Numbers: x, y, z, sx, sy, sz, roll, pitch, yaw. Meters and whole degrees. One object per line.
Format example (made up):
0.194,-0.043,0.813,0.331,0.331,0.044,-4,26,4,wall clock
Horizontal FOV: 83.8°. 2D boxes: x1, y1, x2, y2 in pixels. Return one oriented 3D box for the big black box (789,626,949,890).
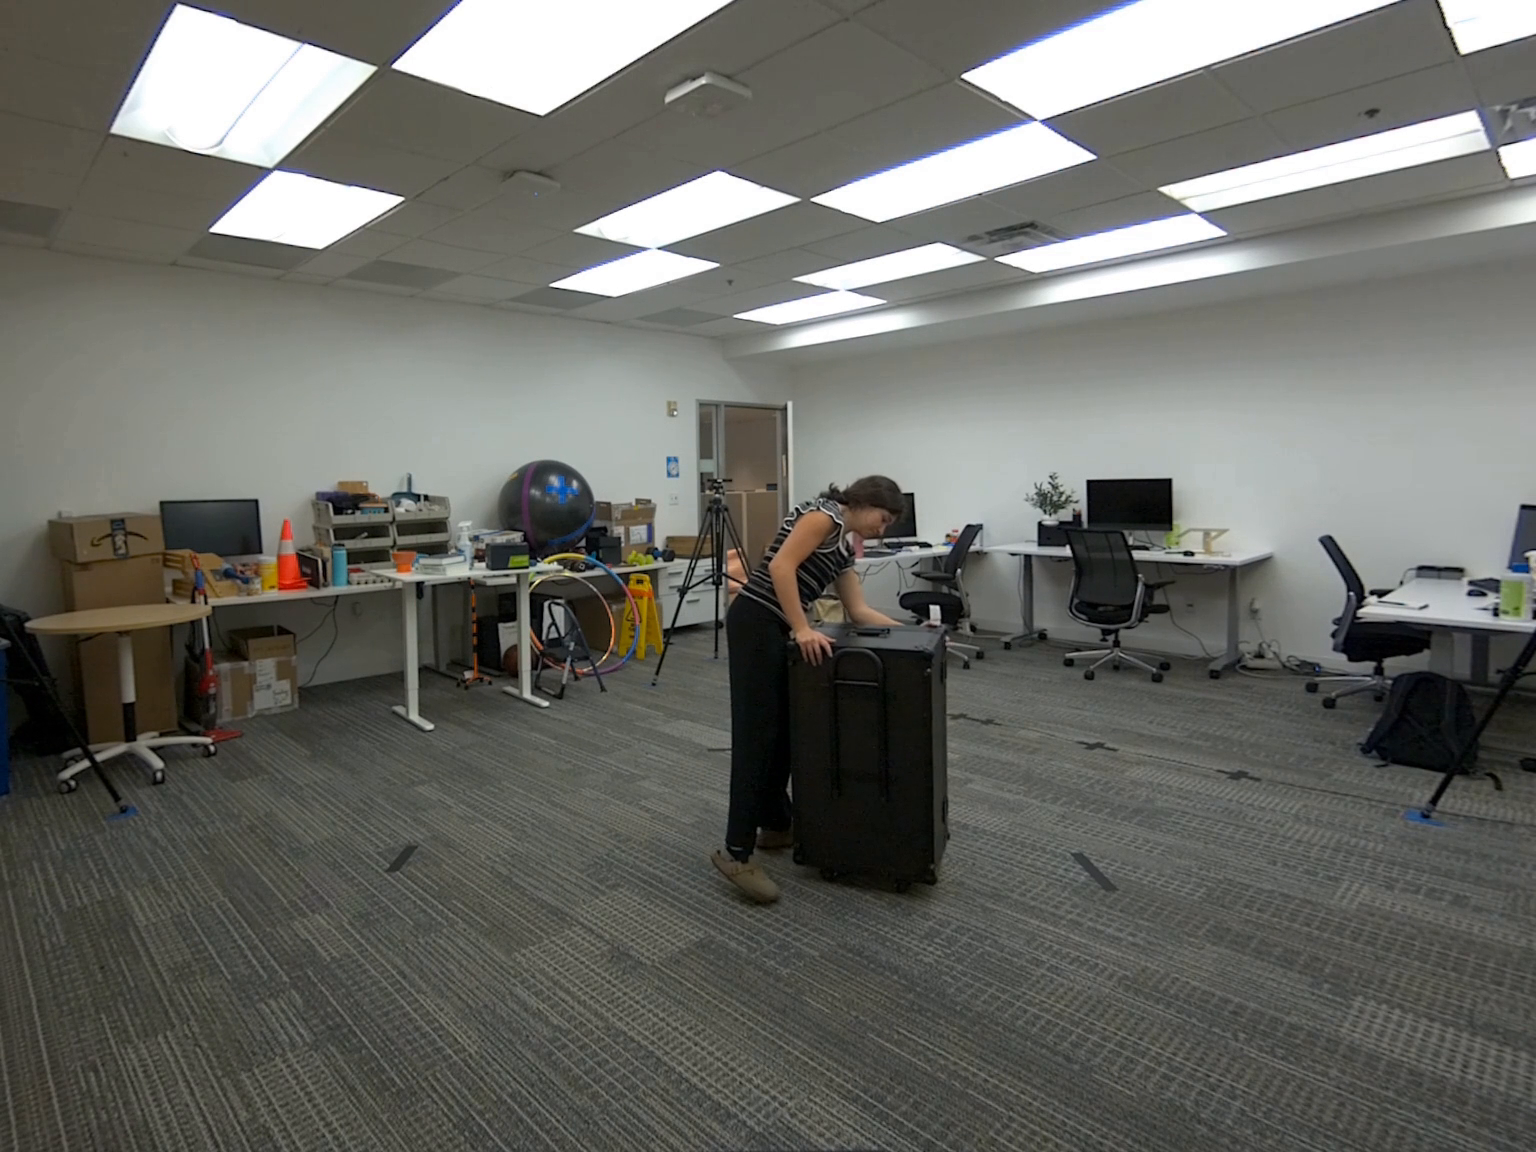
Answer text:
0.364,0.624,2.973,0.532,0.856,0.391,0,7,21,big black box
